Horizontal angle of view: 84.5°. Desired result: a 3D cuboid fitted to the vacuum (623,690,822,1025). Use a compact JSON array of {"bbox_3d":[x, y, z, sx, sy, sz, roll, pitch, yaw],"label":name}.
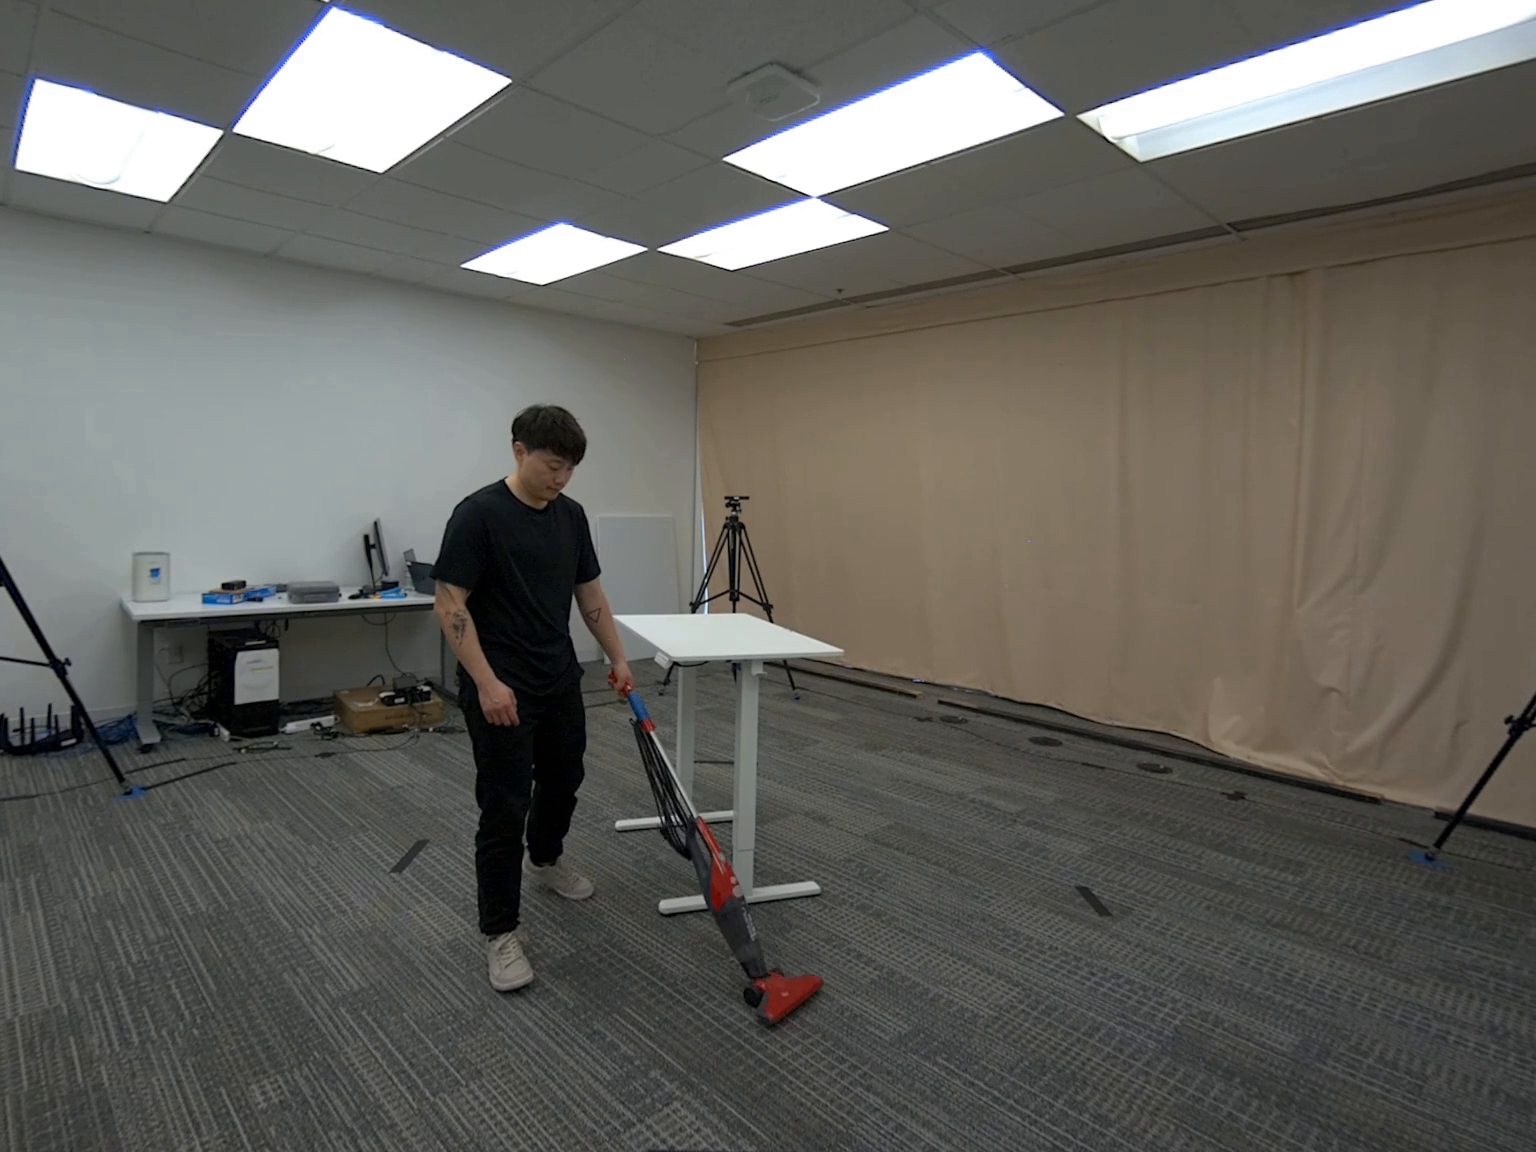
[{"bbox_3d":[-0.237,0.757,2.528,0.144,1.073,0.247,-44,-25,26],"label":"vacuum"}]
